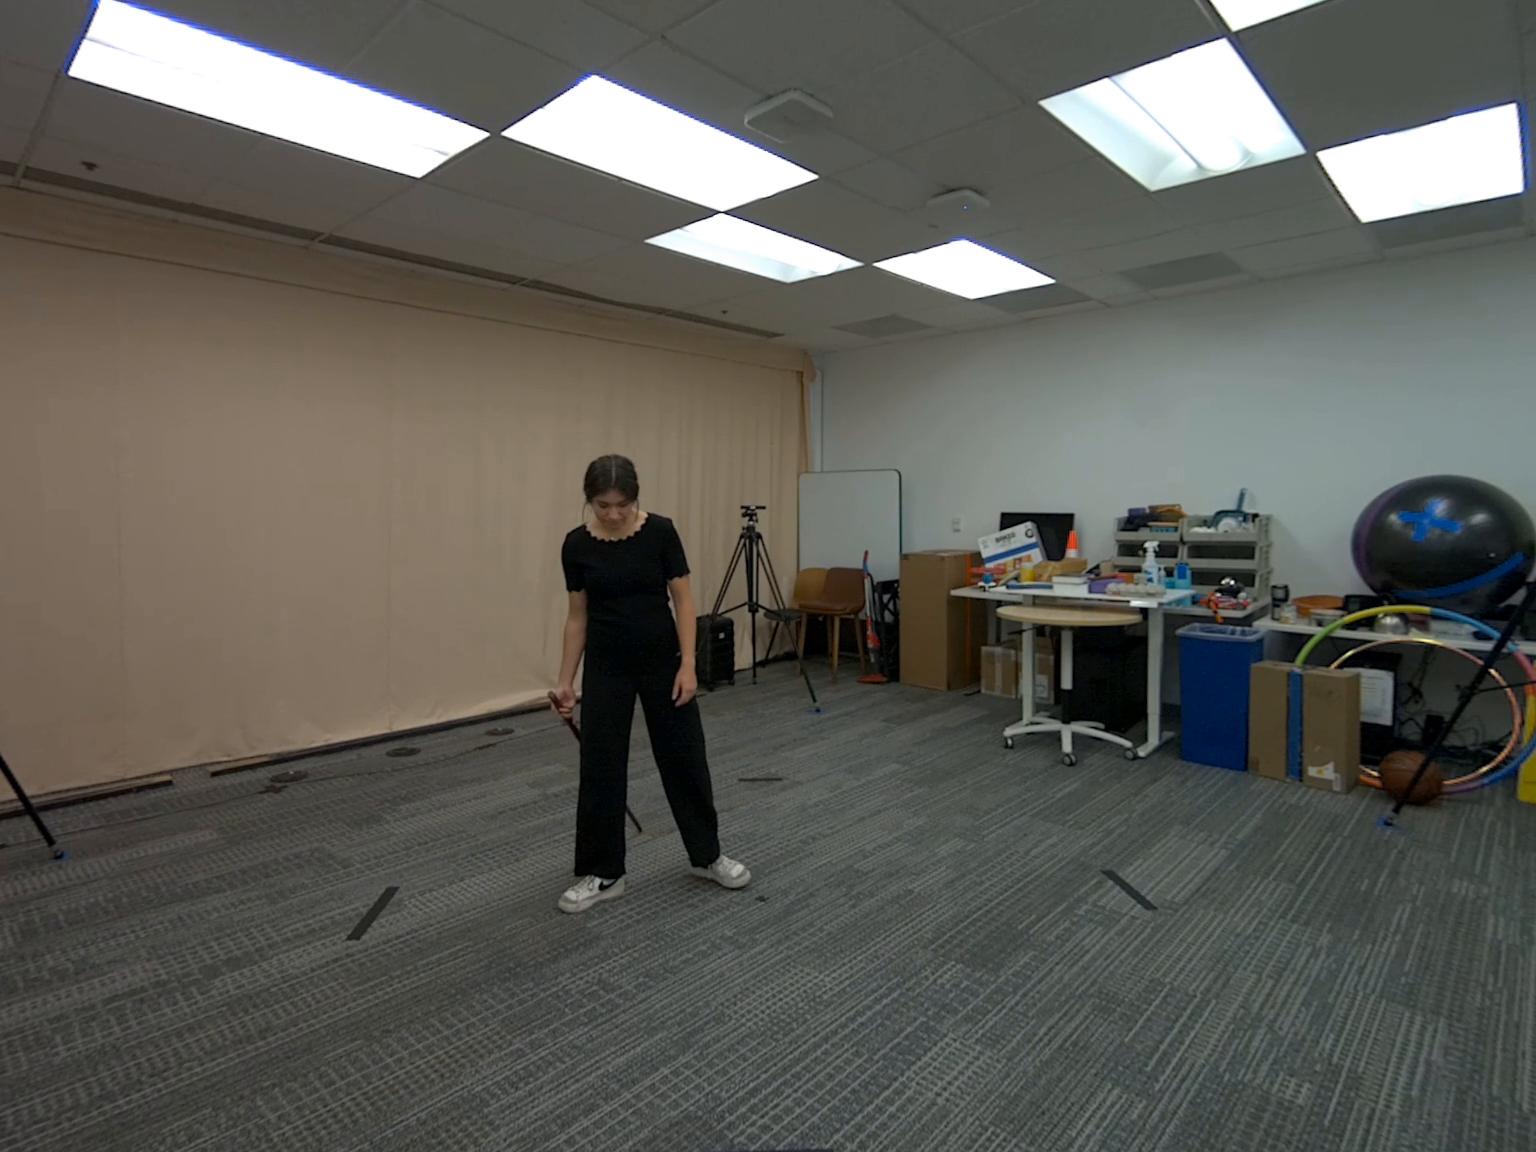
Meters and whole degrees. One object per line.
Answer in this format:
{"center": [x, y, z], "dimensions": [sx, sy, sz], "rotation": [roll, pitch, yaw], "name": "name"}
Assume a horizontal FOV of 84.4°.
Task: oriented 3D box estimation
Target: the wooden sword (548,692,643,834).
{"center": [-0.661, 0.771, 3.281], "dimensions": [0.024, 0.995, 0.053], "rotation": [-24, 45, -3], "name": "wooden sword"}
